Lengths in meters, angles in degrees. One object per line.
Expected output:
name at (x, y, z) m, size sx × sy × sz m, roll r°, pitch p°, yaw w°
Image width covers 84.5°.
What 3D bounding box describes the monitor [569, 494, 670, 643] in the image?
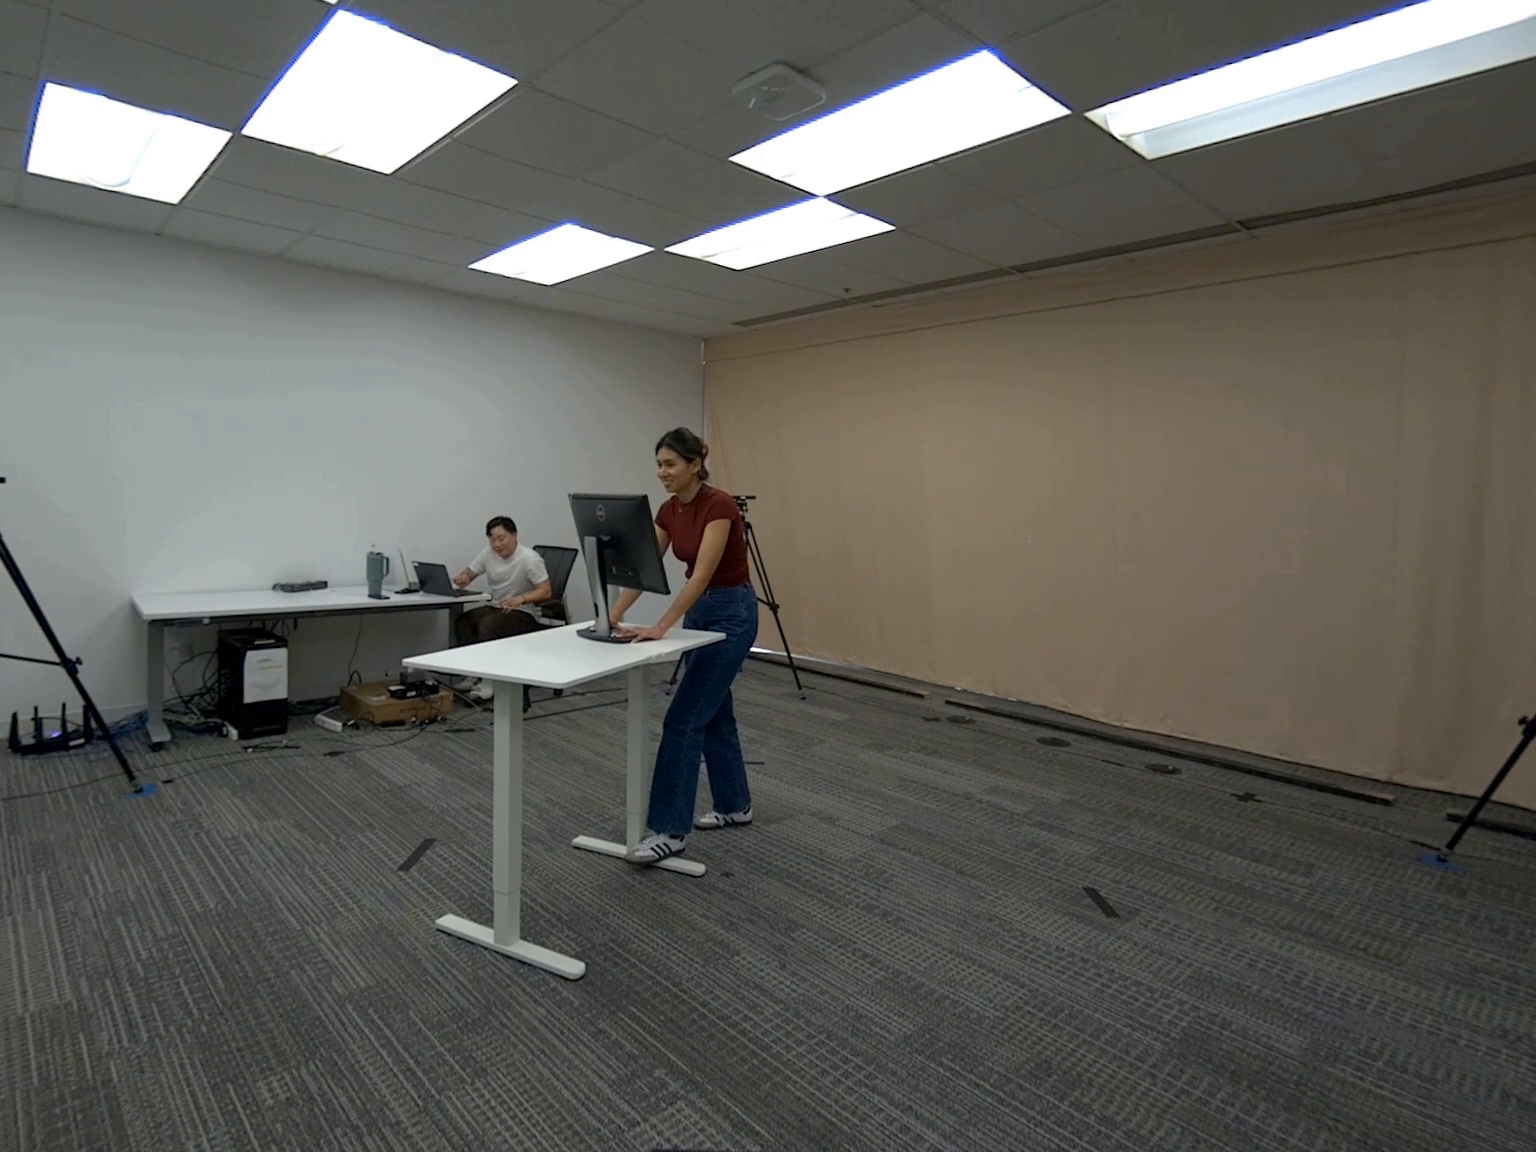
monitor at (-0.573, -0.030, 2.993) m, size 0.183 × 0.520 × 0.553 m, roll -6°, pitch 8°, yaw -42°
